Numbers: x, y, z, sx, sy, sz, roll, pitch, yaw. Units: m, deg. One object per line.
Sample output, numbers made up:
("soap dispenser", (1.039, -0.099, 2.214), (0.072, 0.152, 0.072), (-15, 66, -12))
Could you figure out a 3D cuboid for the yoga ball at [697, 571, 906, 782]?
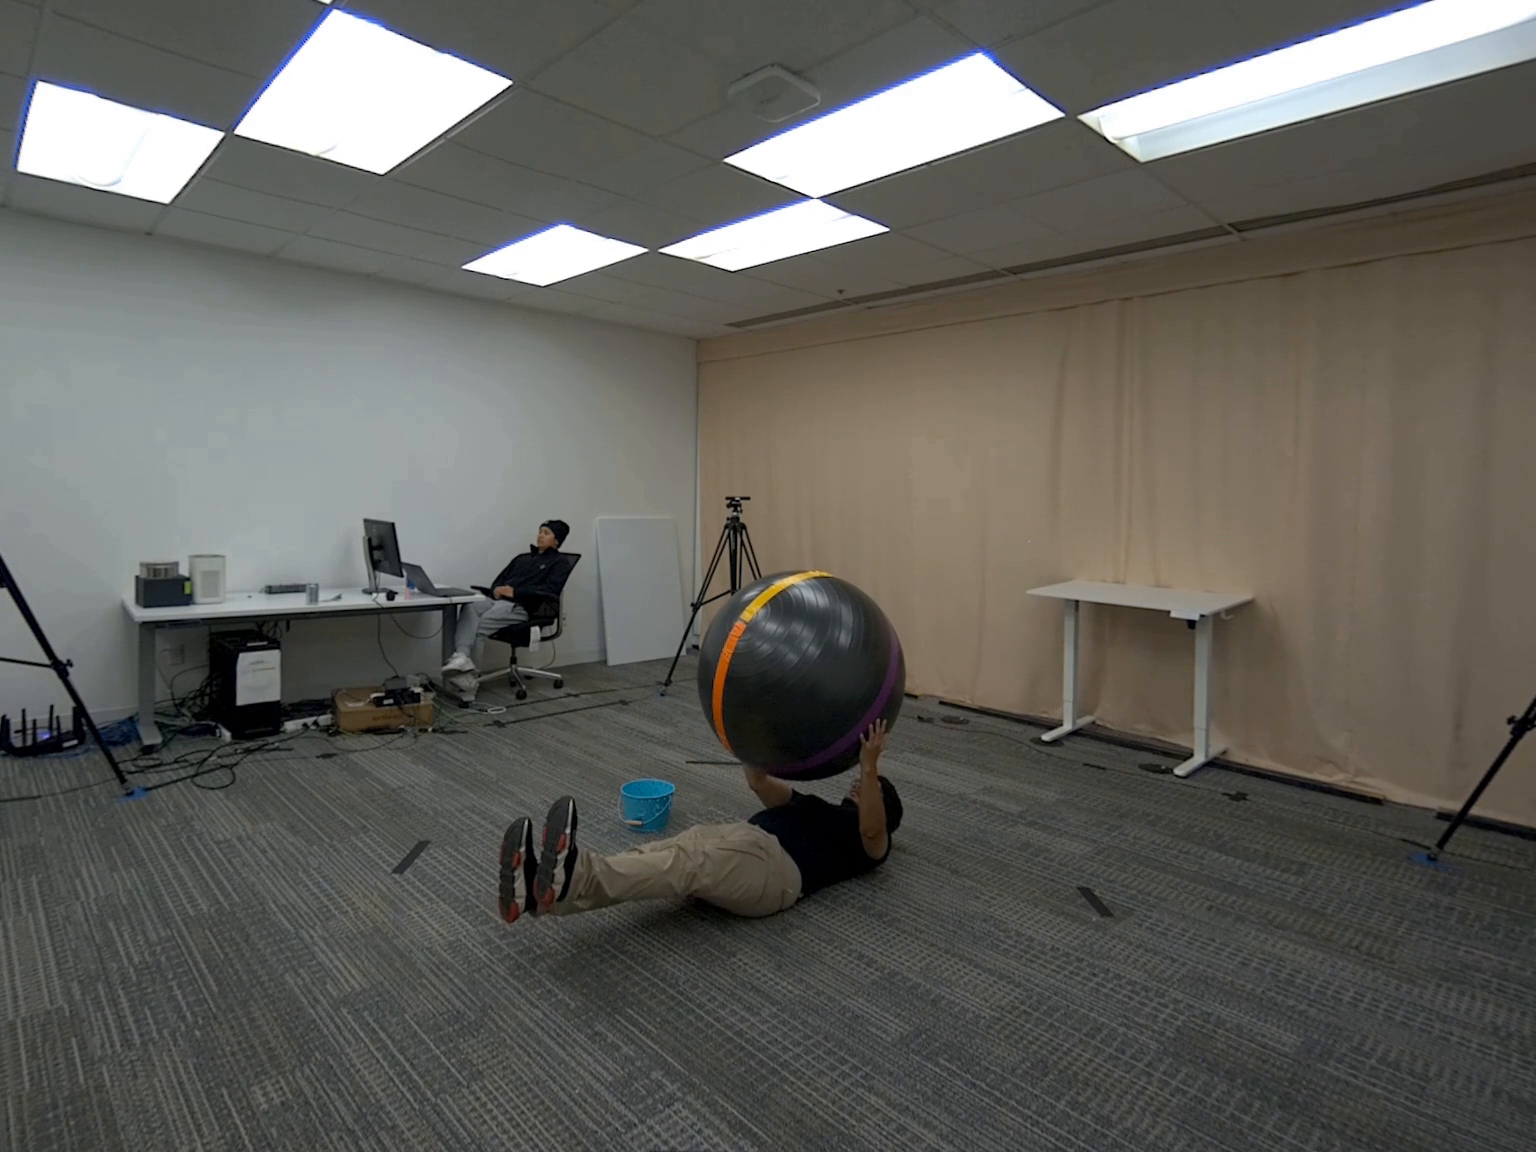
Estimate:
("yoga ball", (0.116, 0.367, 3.078), (0.757, 0.755, 0.761), (1, 5, -1))
